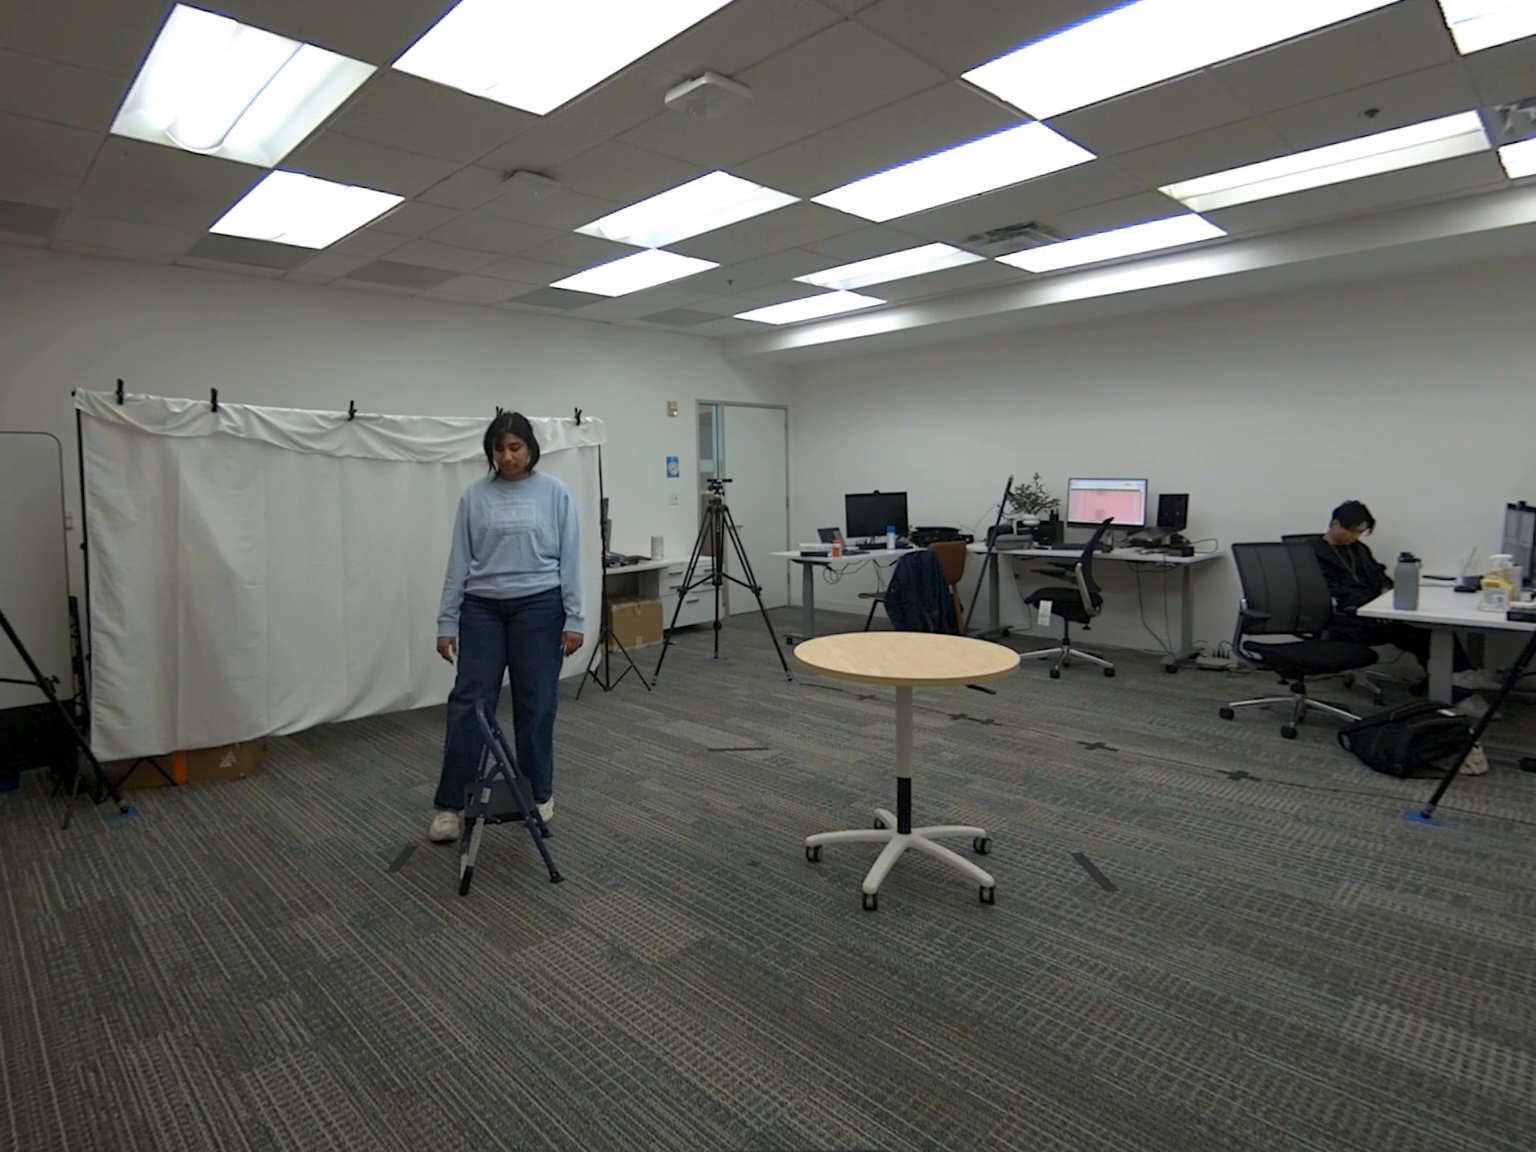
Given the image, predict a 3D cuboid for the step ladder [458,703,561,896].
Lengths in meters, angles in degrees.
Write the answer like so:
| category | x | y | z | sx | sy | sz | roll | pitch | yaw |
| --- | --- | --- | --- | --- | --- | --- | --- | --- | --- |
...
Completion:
| category | x | y | z | sx | sy | sz | roll | pitch | yaw |
| --- | --- | --- | --- | --- | --- | --- | --- | --- | --- |
| step ladder | -0.956 | 0.759 | 3.132 | 0.343 | 0.604 | 0.439 | -3 | 3 | -19 |
